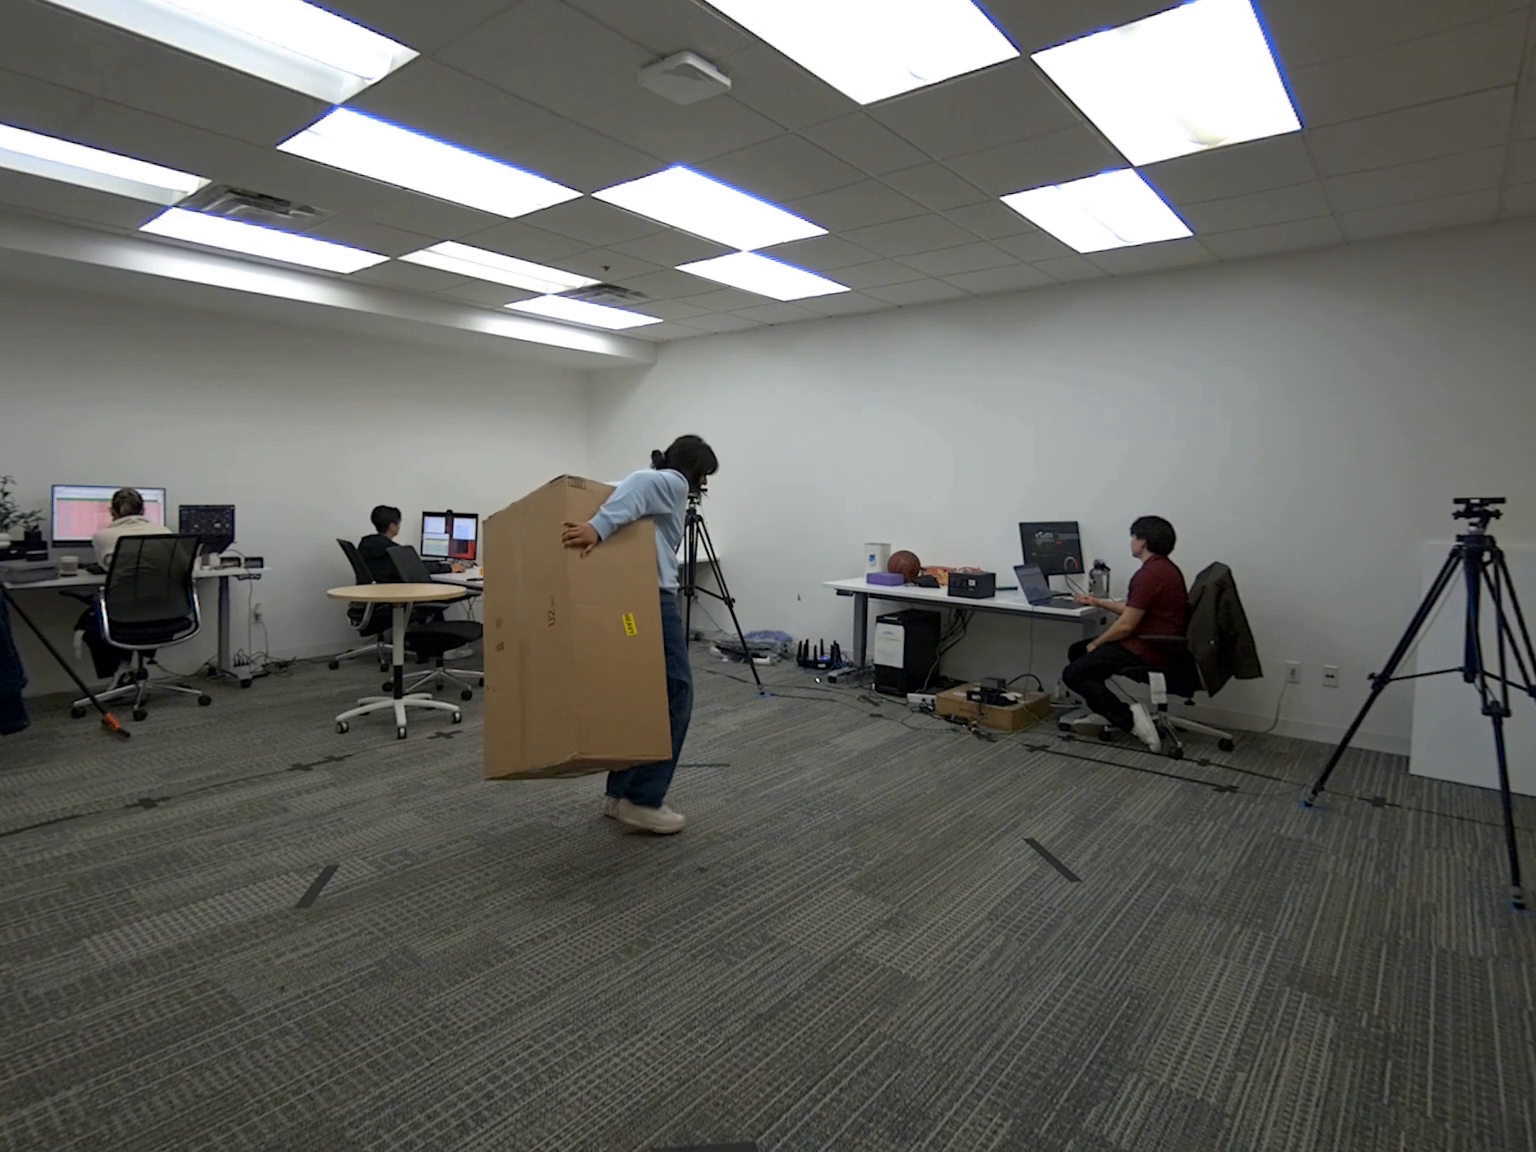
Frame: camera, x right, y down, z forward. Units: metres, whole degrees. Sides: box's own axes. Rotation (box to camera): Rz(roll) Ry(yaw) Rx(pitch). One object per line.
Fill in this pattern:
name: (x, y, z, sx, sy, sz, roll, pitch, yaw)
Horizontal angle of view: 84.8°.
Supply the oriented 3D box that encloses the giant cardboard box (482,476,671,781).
giant cardboard box: (-0.761, 0.222, 3.236, 0.588, 1.046, 0.410, -22, -24, 38)
